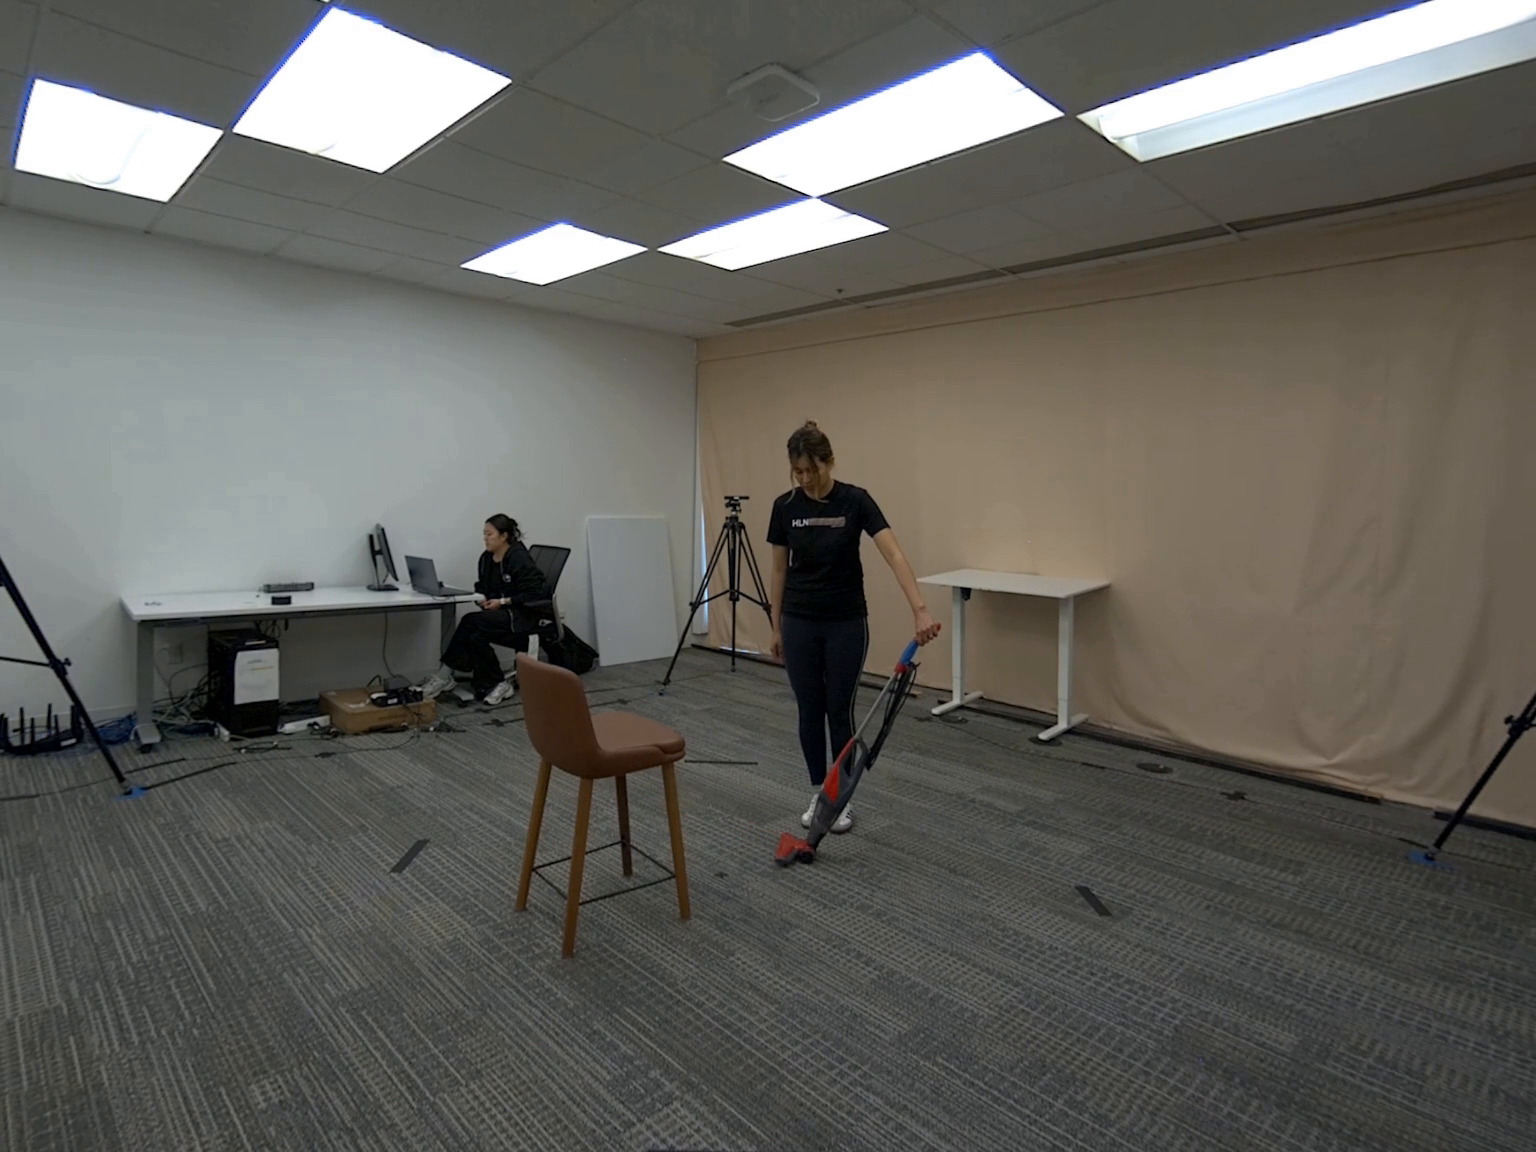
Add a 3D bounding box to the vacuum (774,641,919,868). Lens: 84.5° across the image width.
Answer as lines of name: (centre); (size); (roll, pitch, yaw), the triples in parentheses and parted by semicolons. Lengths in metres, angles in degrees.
vacuum: (0.358, 0.646, 3.211); (0.145, 1.047, 0.251); (34, 8, 6)
